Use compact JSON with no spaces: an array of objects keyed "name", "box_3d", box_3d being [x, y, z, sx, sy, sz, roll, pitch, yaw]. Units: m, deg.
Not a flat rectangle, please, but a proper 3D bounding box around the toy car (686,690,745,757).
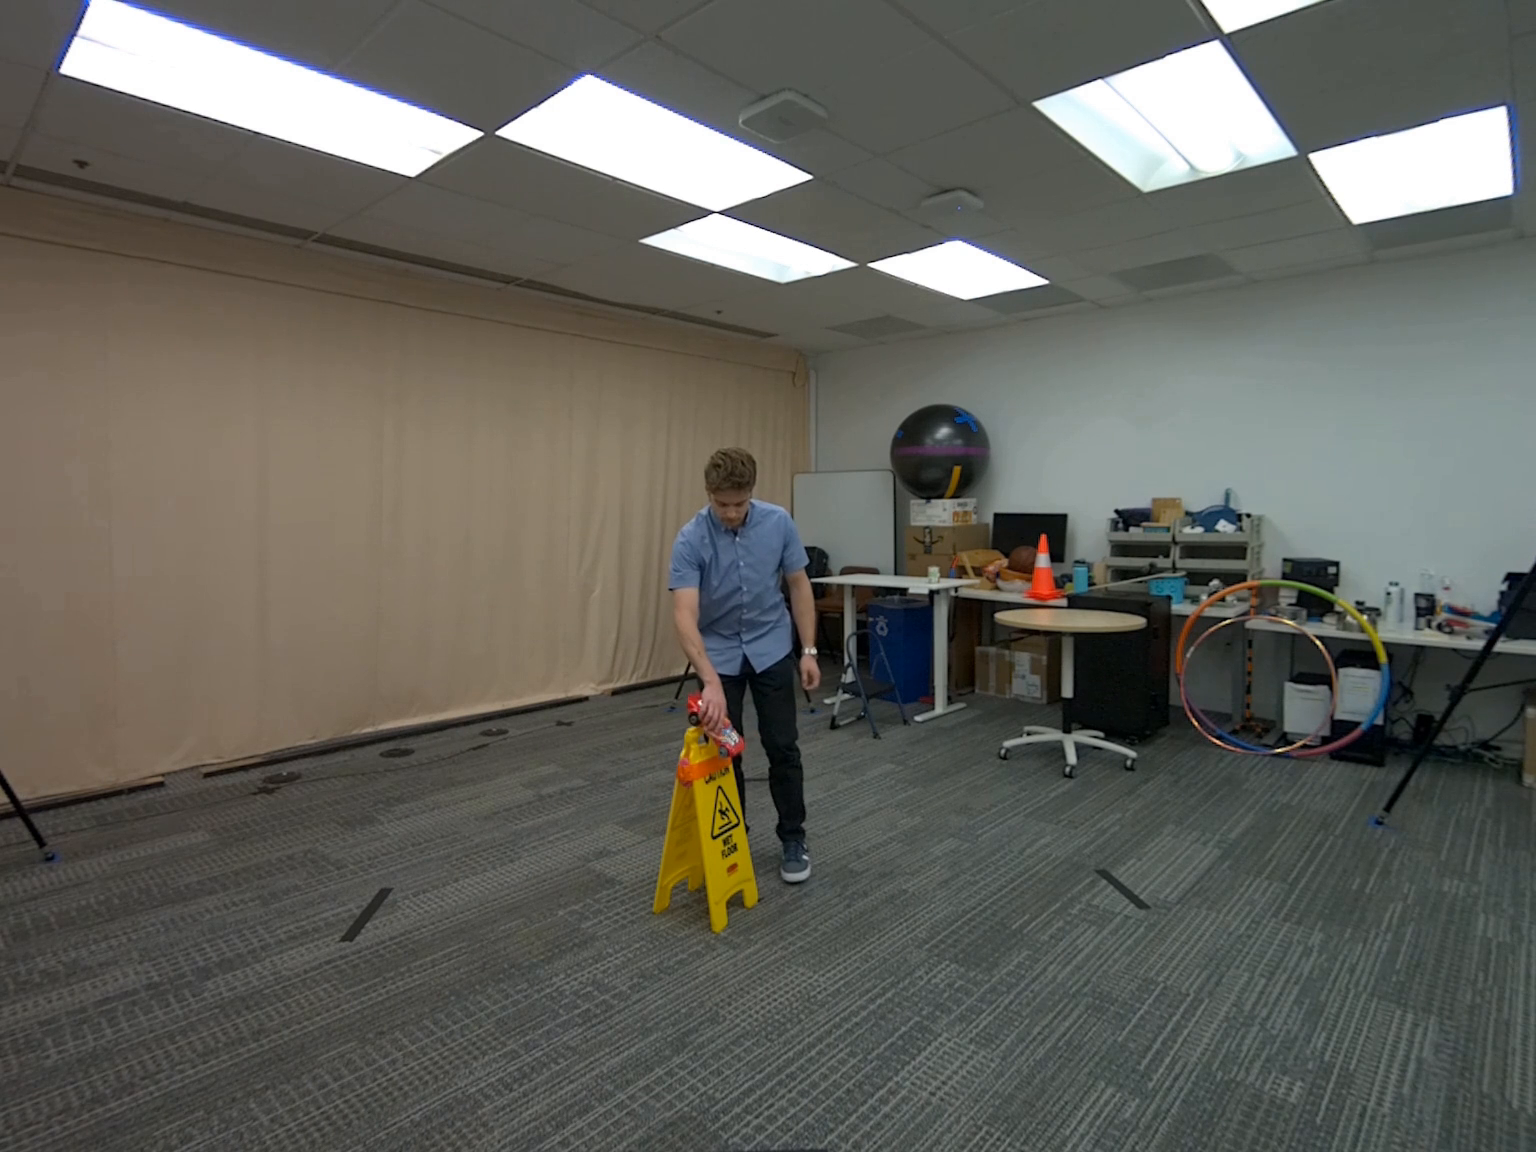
[{"name":"toy car","box_3d":[-0.185,0.504,2.876,0.084,0.258,0.127,-40,-12,27]}]
